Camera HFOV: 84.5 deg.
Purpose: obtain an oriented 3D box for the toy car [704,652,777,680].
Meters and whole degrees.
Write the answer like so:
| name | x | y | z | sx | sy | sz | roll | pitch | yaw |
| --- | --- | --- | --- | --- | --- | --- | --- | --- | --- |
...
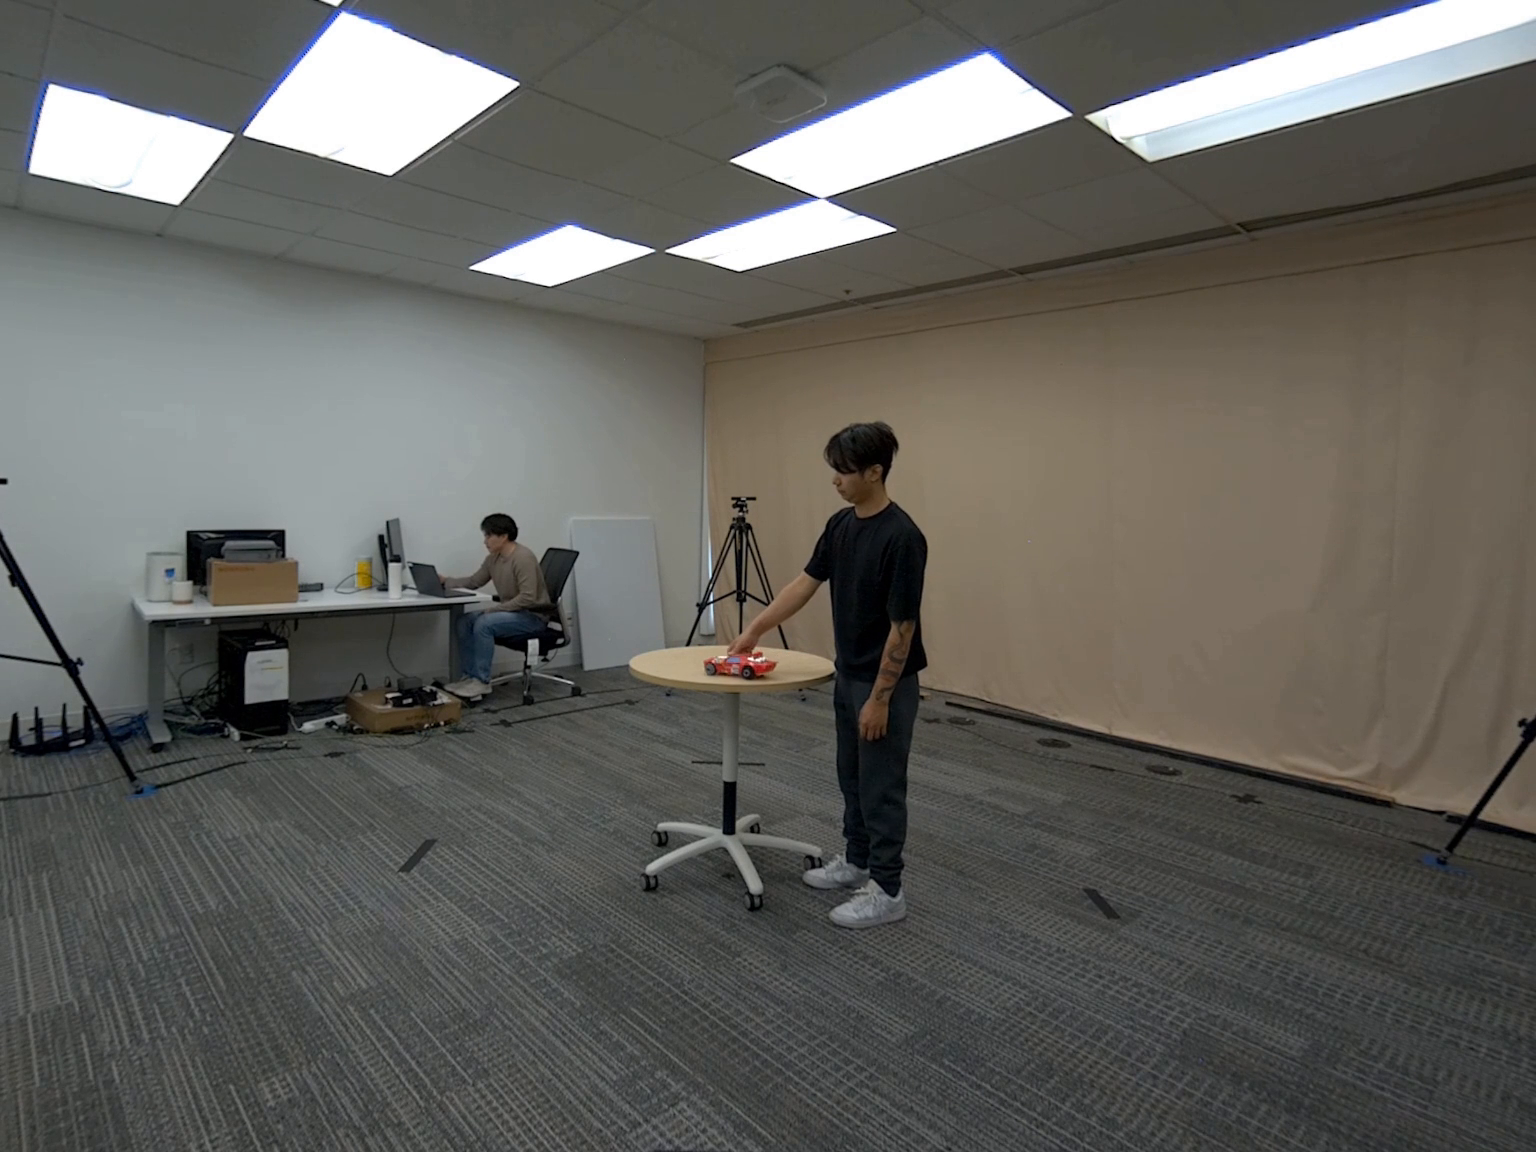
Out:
| name | x | y | z | sx | sy | sz | roll | pitch | yaw |
| --- | --- | --- | --- | --- | --- | --- | --- | --- | --- |
| toy car | -0.093 | 0.310 | 2.877 | 0.259 | 0.083 | 0.128 | -9 | -2 | 28 |
